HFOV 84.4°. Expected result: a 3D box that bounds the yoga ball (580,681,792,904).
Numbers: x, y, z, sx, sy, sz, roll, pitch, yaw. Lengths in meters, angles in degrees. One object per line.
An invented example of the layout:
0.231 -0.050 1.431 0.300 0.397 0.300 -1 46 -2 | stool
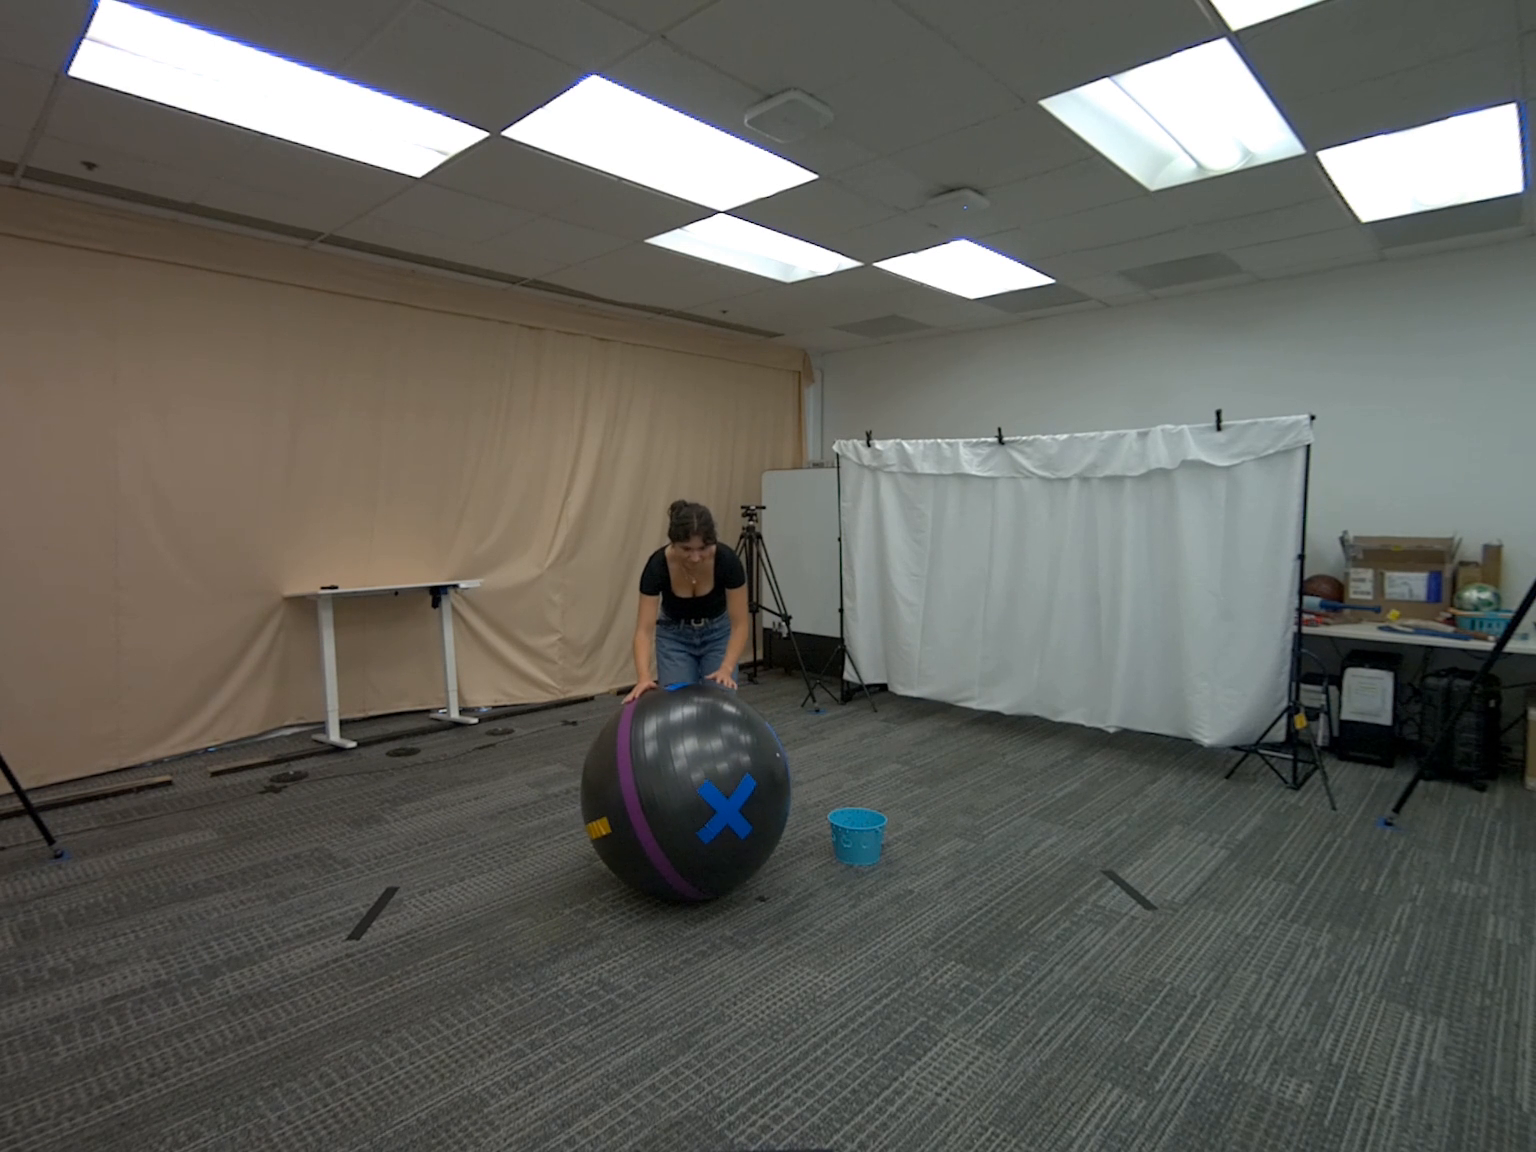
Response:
-0.289 0.778 3.036 0.757 0.756 0.760 0 4 -2 | yoga ball
